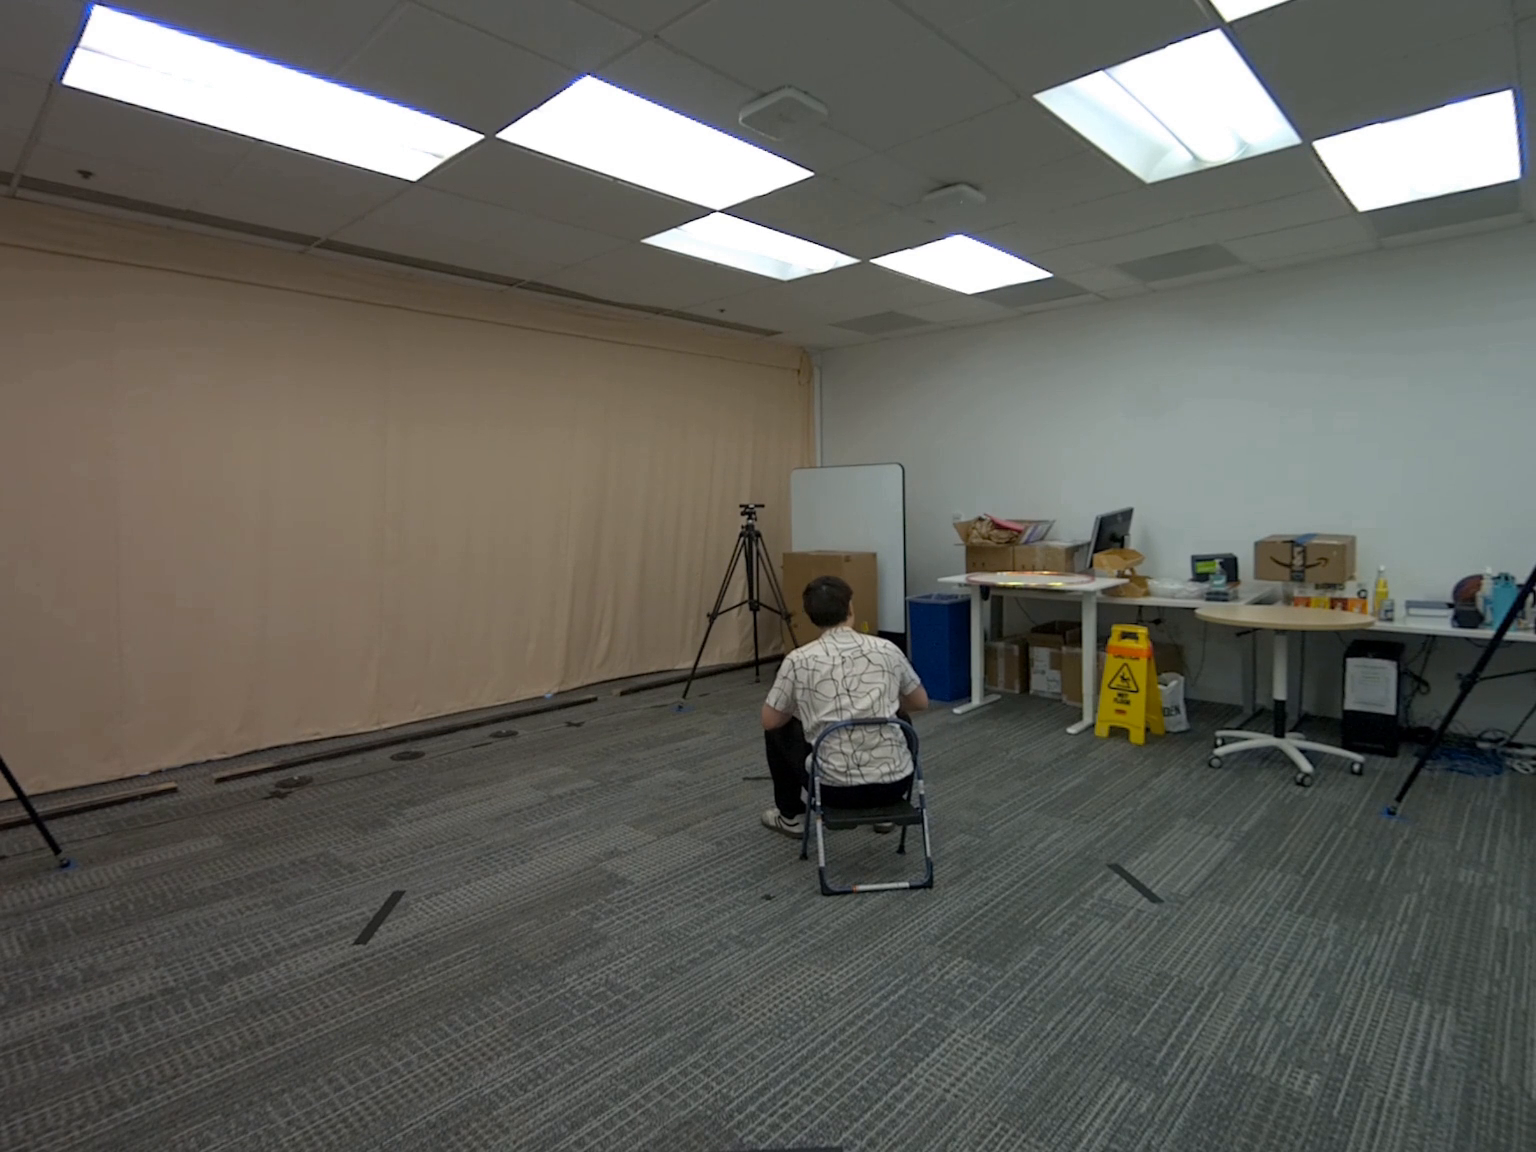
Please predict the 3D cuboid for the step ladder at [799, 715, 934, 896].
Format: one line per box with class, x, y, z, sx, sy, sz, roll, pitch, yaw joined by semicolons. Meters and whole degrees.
step ladder;0.361;0.818;3.158;0.427;0.605;0.353;-1;3;-9
